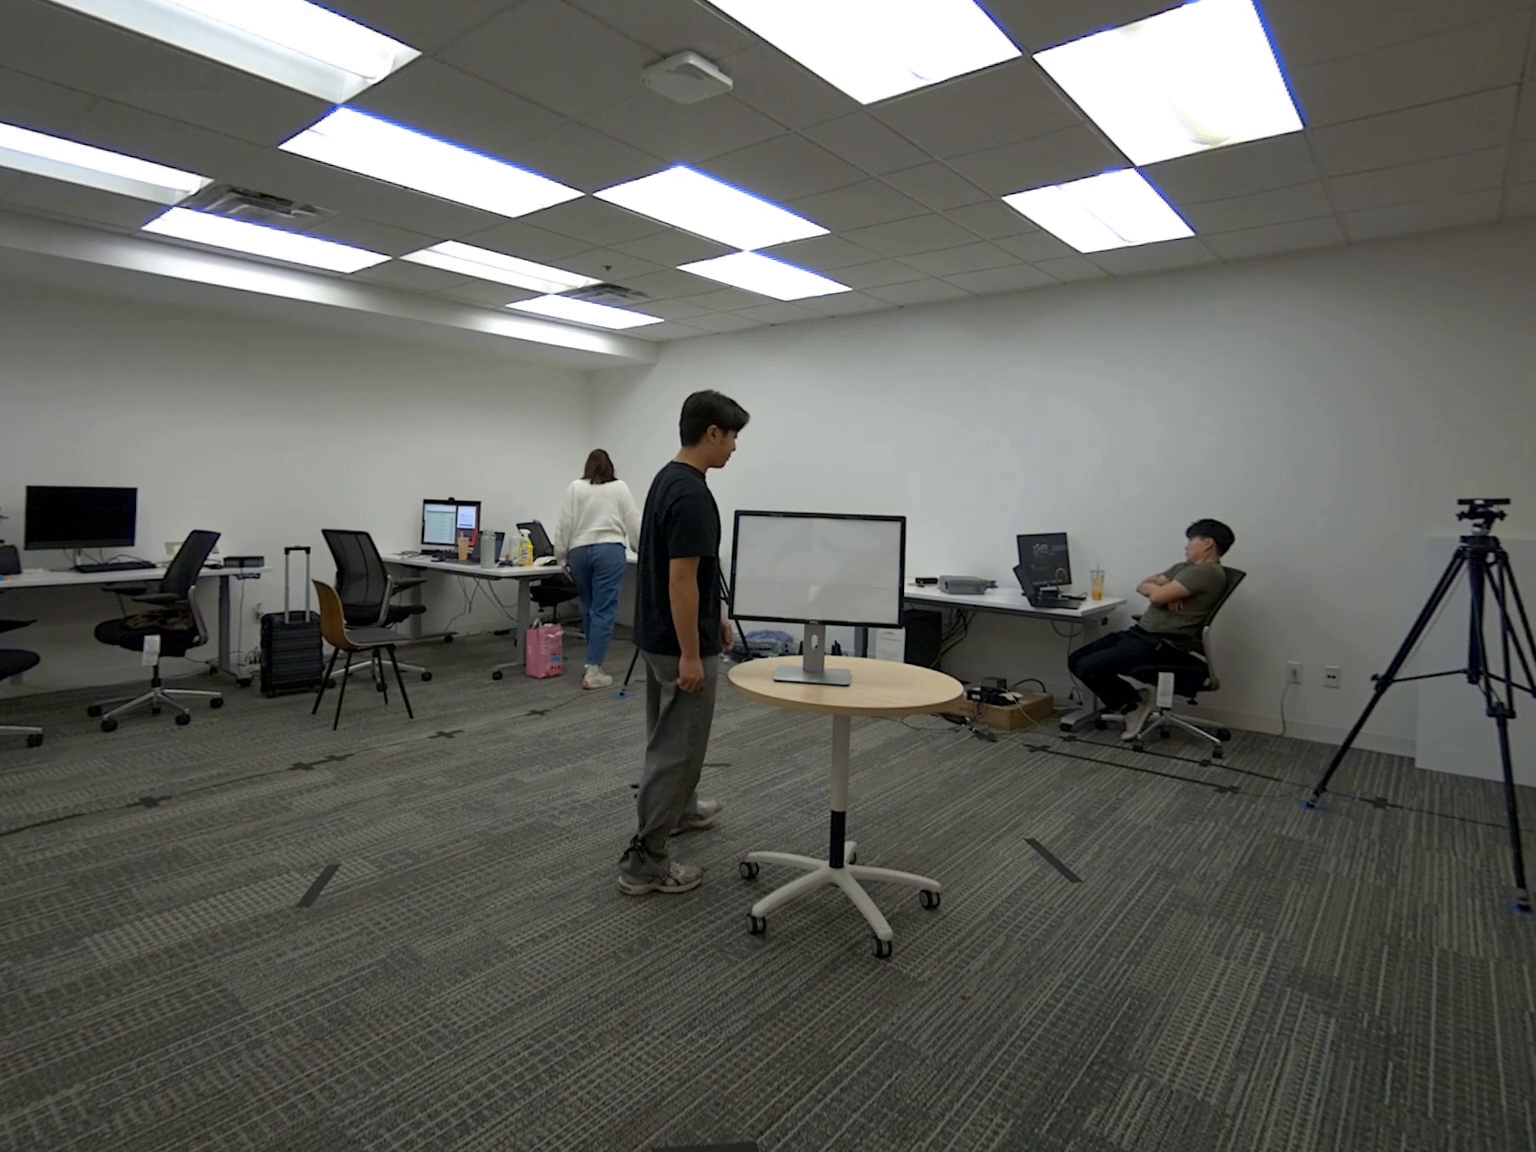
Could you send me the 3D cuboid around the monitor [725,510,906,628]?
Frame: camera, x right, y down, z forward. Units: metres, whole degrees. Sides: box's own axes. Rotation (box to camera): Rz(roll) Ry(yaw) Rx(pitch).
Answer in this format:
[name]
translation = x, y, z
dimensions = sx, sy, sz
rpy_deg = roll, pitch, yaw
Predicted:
[monitor]
translation = 0.158, 0.074, 2.779
dimensions = 0.569, 0.563, 0.220
rpy_deg = 3, 5, 11
